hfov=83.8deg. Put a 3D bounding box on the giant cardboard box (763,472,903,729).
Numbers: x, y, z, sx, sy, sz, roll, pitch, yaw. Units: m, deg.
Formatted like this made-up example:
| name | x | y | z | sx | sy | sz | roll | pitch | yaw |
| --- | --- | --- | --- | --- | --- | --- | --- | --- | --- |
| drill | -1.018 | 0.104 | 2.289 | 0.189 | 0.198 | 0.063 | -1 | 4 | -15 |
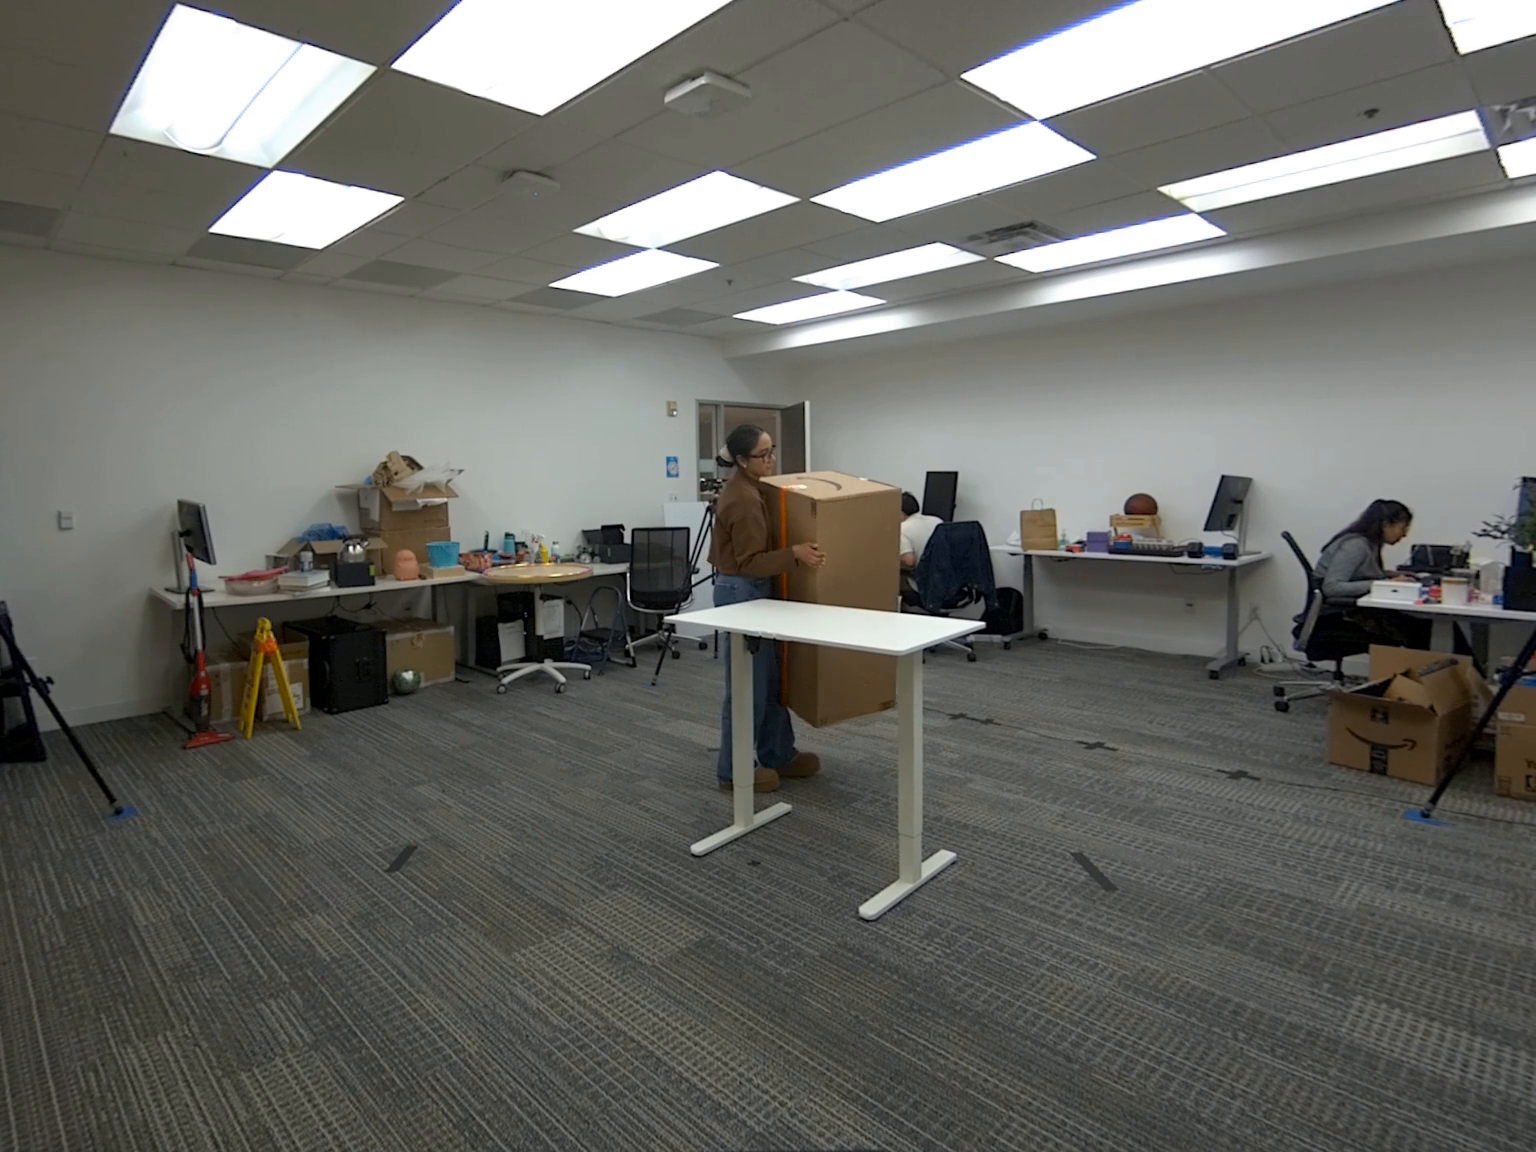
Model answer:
| name | x | y | z | sx | sy | sz | roll | pitch | yaw |
| --- | --- | --- | --- | --- | --- | --- | --- | --- | --- |
| giant cardboard box | 0.257 | 0.079 | 3.921 | 0.418 | 1.013 | 0.596 | -8 | 16 | -26 |
